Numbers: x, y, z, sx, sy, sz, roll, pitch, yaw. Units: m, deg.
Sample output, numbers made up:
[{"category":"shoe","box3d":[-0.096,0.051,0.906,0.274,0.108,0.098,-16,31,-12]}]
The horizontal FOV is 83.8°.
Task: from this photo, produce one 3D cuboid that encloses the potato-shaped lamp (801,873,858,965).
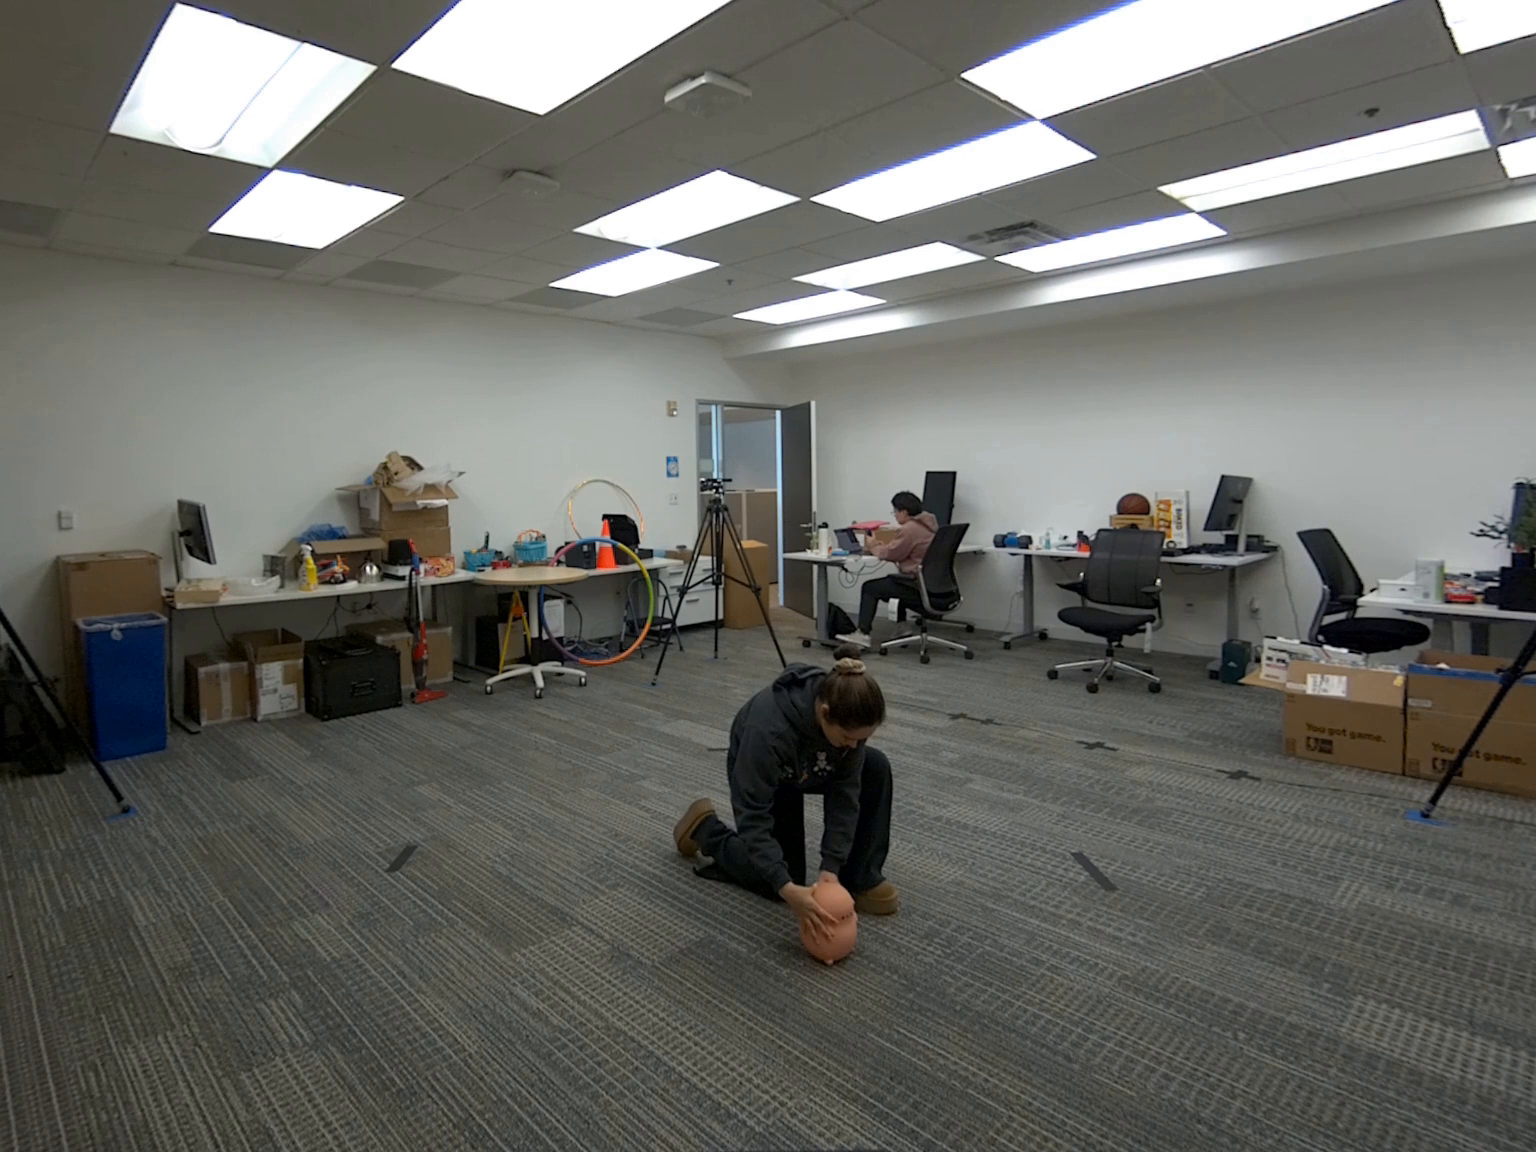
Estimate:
[{"category":"potato-shaped lamp","box3d":[0.178,1.003,2.495,0.160,0.196,0.177,-6,14,-43]}]
